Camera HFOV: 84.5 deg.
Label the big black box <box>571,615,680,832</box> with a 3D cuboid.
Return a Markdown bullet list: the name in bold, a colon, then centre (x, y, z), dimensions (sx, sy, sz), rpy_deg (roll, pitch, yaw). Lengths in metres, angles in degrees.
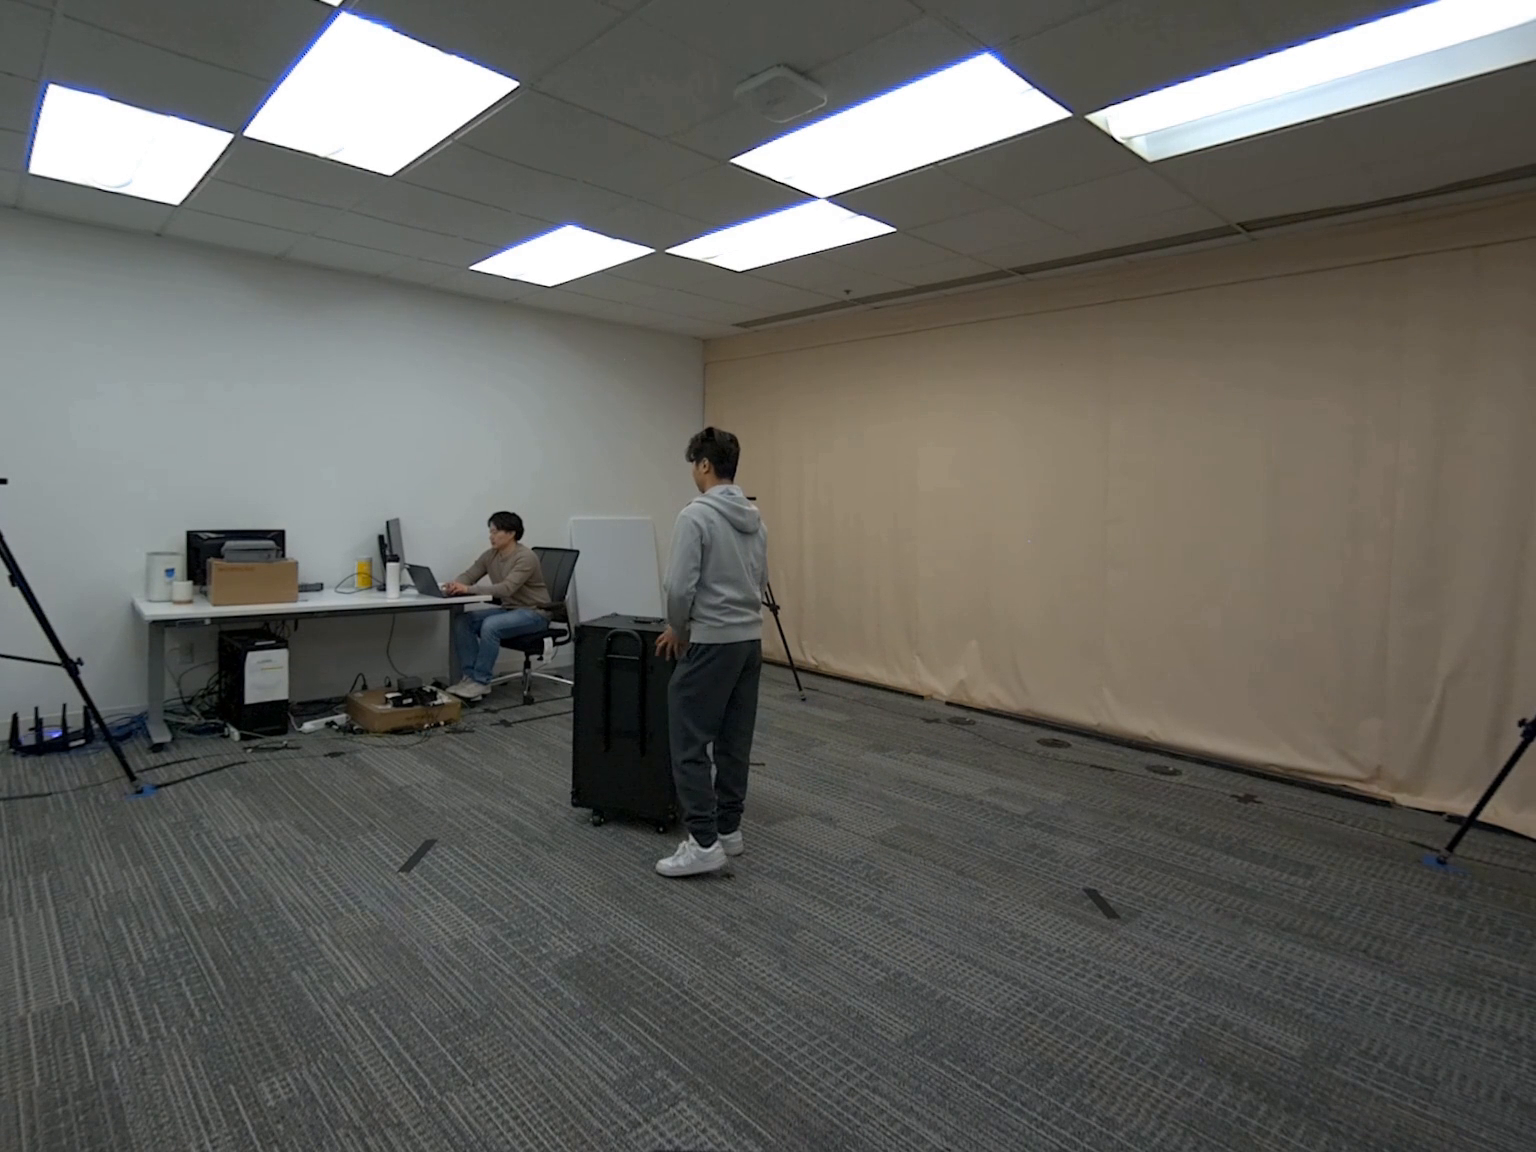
- **big black box**: centre (-0.554, 0.630, 3.636), dimensions (0.529, 0.859, 0.391), rpy_deg (3, 3, 18)
